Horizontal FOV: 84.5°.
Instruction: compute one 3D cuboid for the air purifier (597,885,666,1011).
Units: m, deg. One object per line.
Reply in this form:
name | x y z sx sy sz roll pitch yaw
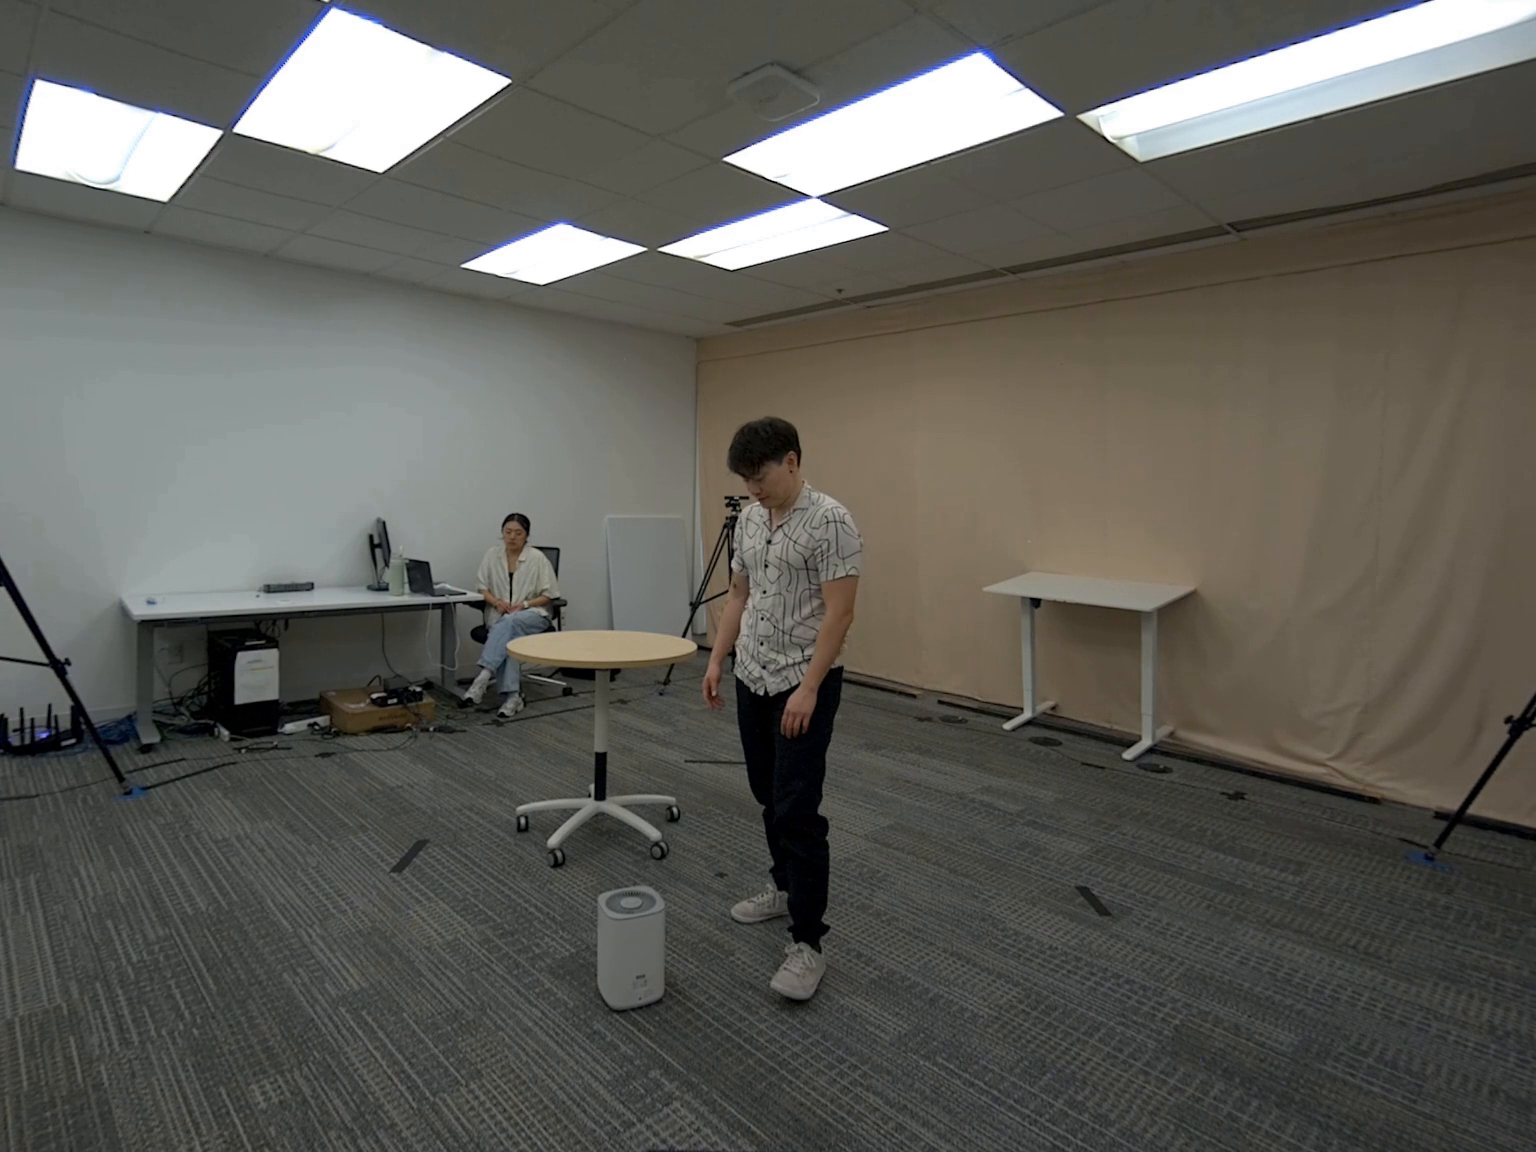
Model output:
air purifier | -0.390 1.037 2.336 0.168 0.265 0.175 -1 4 -29
